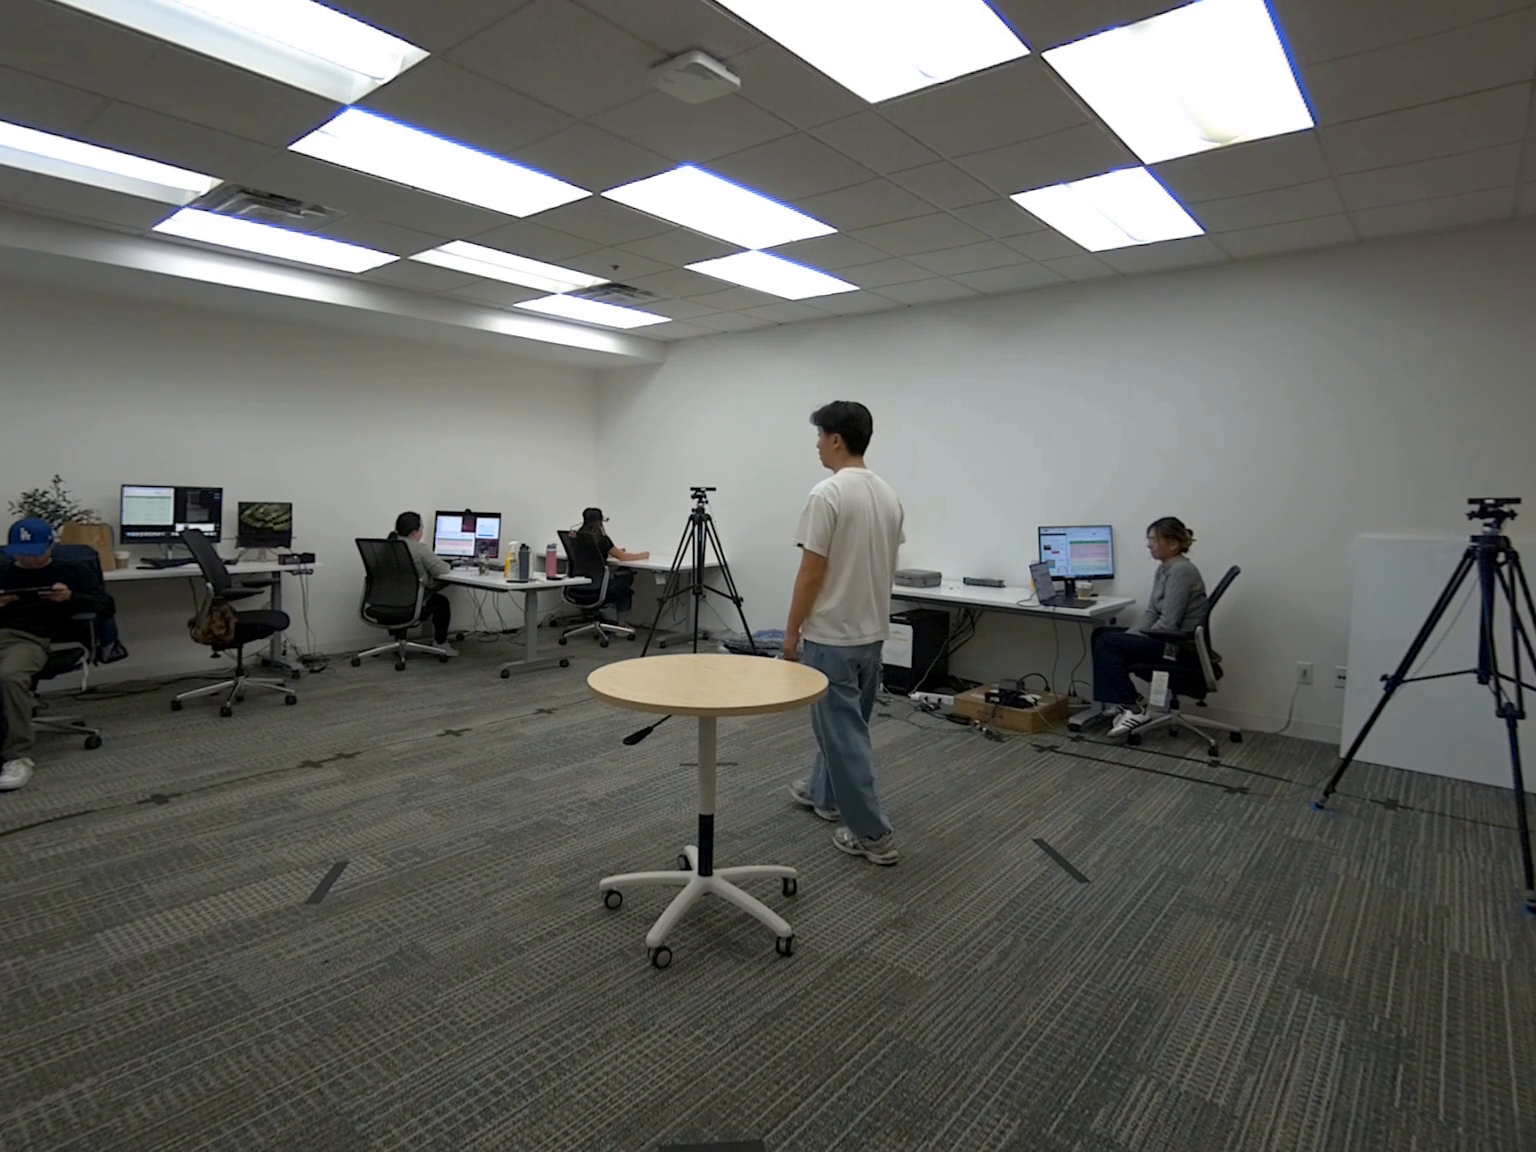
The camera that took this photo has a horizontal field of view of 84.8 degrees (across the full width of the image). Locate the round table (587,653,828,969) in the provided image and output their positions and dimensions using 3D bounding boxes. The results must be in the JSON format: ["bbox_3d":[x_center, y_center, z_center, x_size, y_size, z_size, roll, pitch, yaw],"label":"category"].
[{"bbox_3d":[-0.210,0.714,2.741,0.763,0.791,0.768,1,4,-2],"label":"round table"}]
